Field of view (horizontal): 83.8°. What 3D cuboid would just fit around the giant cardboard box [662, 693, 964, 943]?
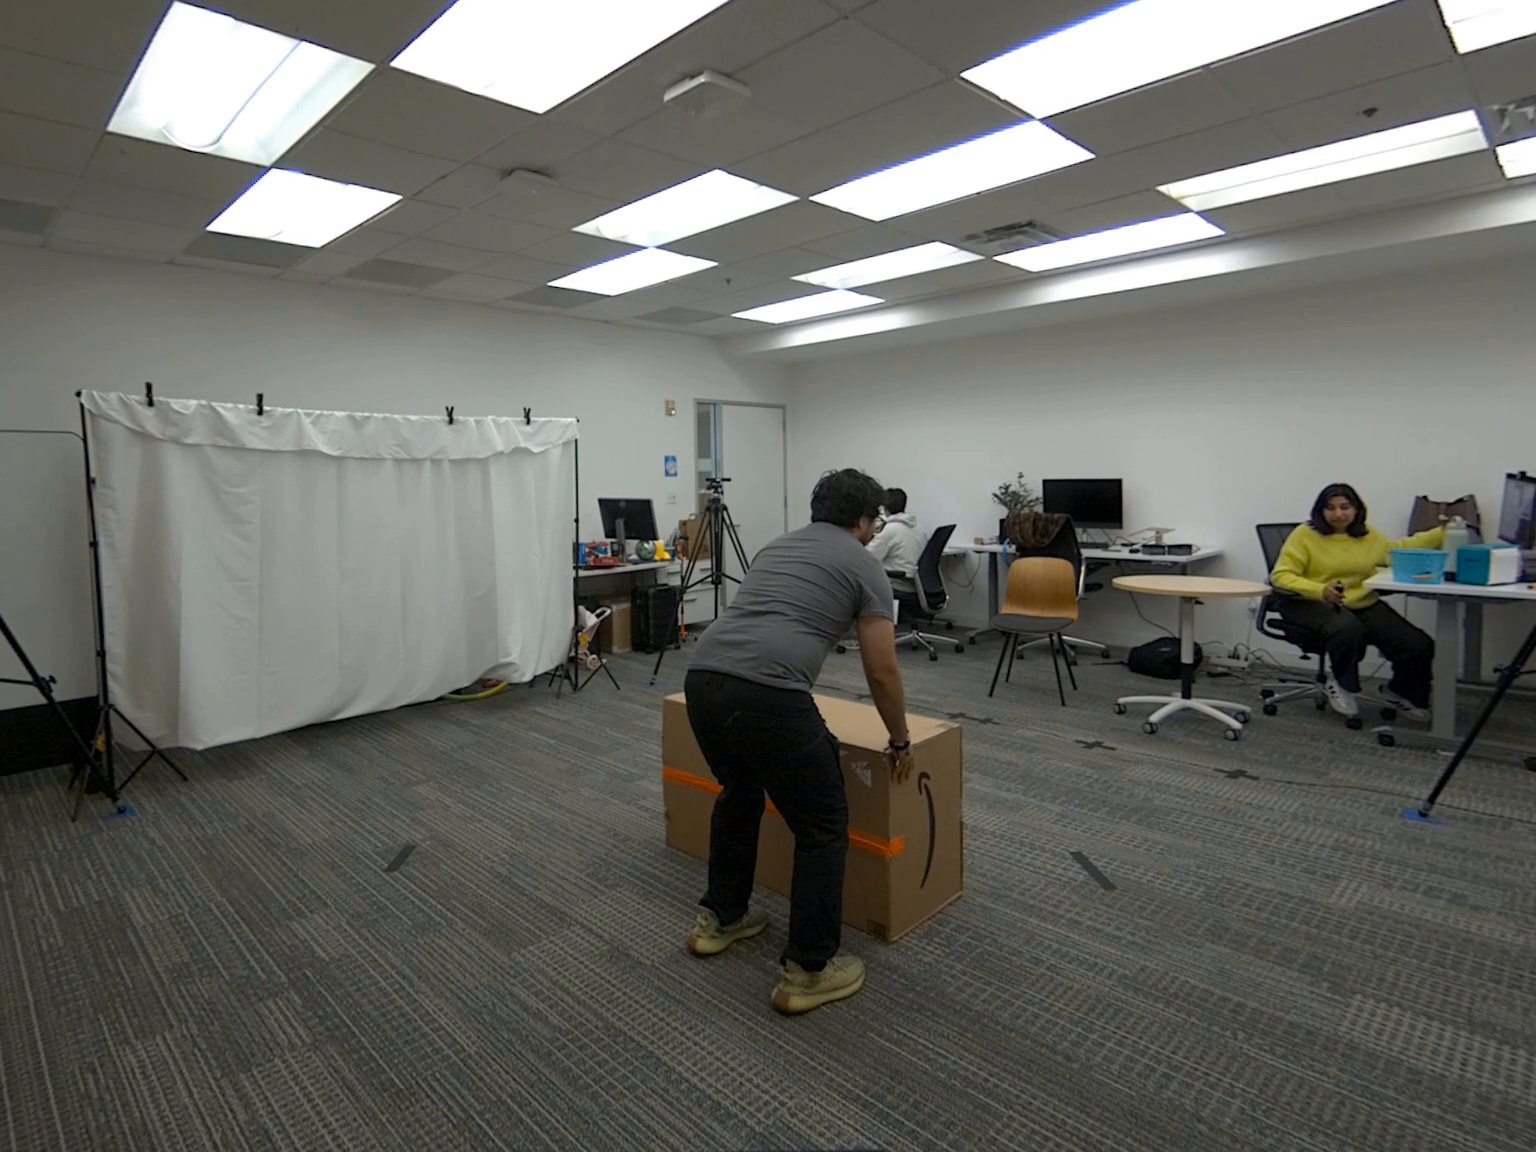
[{"bbox_3d":[0.126,0.760,3.042,1.058,0.575,0.415,5,7,44],"label":"giant cardboard box"}]
